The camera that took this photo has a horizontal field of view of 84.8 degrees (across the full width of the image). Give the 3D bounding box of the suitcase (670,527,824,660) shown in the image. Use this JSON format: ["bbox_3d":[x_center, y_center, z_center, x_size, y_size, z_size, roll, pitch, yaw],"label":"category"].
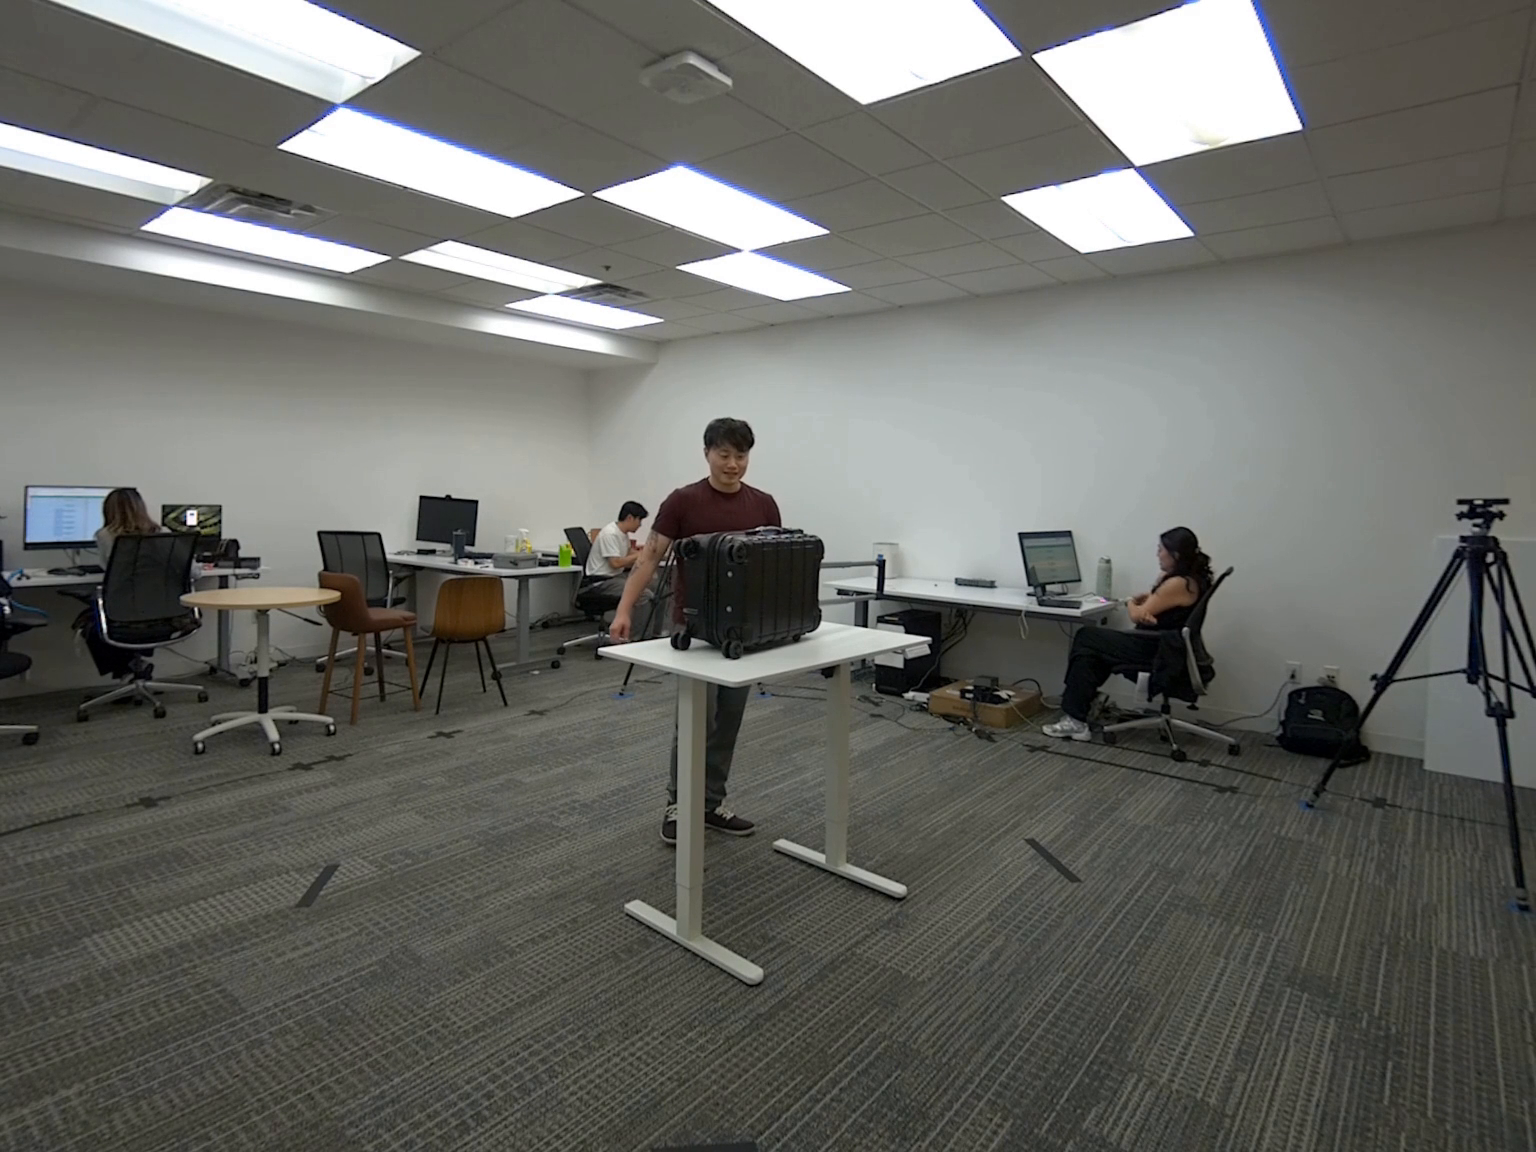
[{"bbox_3d":[0.064,0.020,2.965,0.265,0.382,0.951,4,7,36],"label":"suitcase"}]
